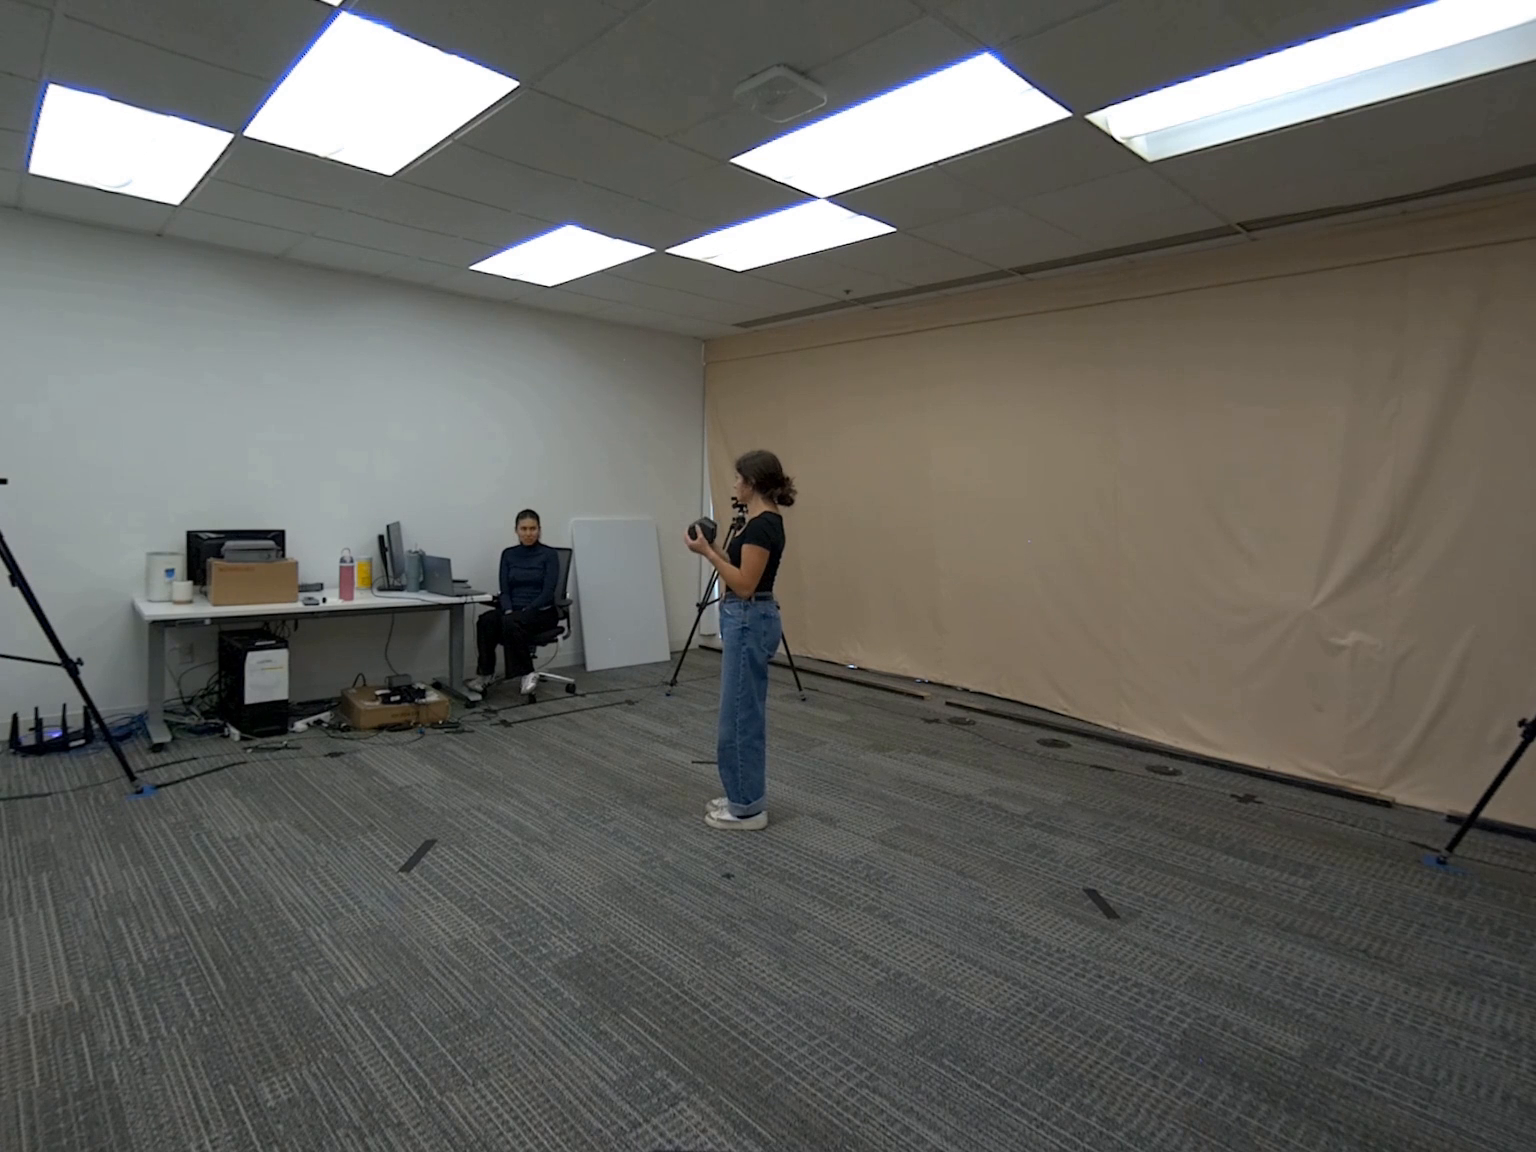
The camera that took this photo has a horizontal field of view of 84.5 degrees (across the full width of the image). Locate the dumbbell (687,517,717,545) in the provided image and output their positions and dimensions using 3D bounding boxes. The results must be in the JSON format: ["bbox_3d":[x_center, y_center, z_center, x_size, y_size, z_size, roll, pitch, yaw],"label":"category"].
[{"bbox_3d":[-0.285,-0.176,3.627,0.109,0.122,0.294,5,5,1],"label":"dumbbell"}]
